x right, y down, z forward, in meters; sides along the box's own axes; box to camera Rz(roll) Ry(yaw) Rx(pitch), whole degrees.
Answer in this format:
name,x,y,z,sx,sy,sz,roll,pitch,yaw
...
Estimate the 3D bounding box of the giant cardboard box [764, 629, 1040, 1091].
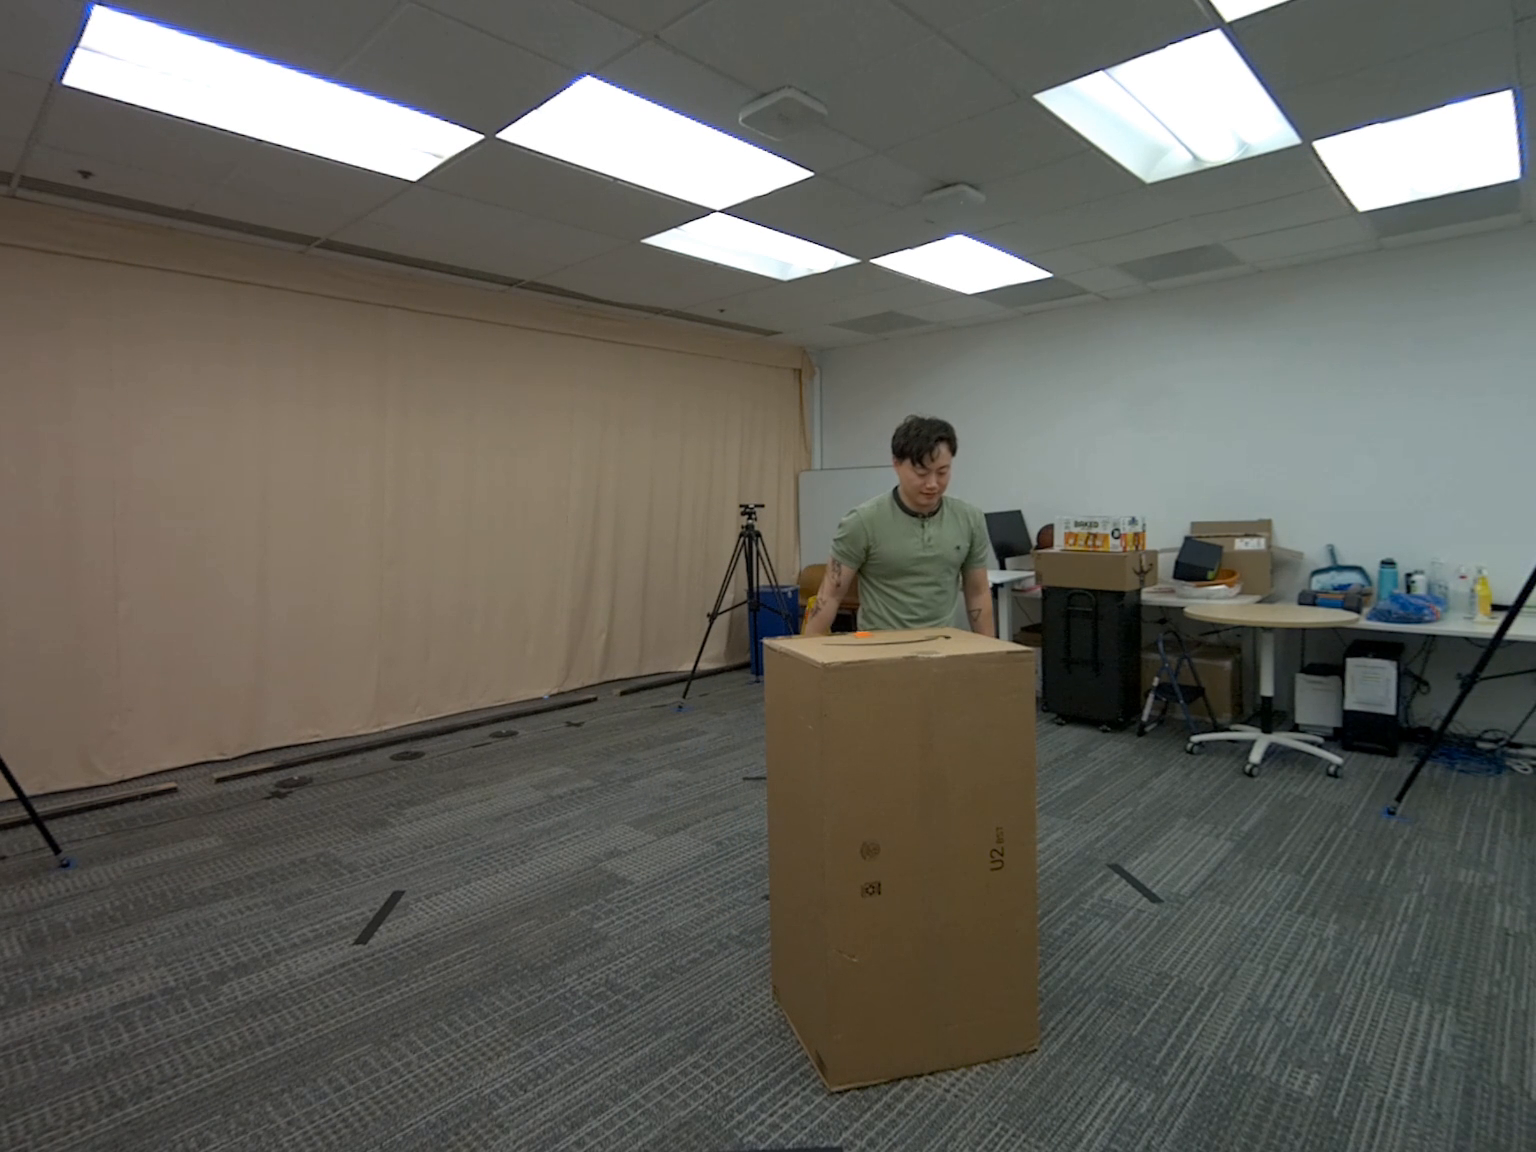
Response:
name,x,y,z,sx,sy,sz,roll,pitch,yaw
giant cardboard box,0.335,0.689,2.230,0.568,1.023,0.434,-2,3,-17
